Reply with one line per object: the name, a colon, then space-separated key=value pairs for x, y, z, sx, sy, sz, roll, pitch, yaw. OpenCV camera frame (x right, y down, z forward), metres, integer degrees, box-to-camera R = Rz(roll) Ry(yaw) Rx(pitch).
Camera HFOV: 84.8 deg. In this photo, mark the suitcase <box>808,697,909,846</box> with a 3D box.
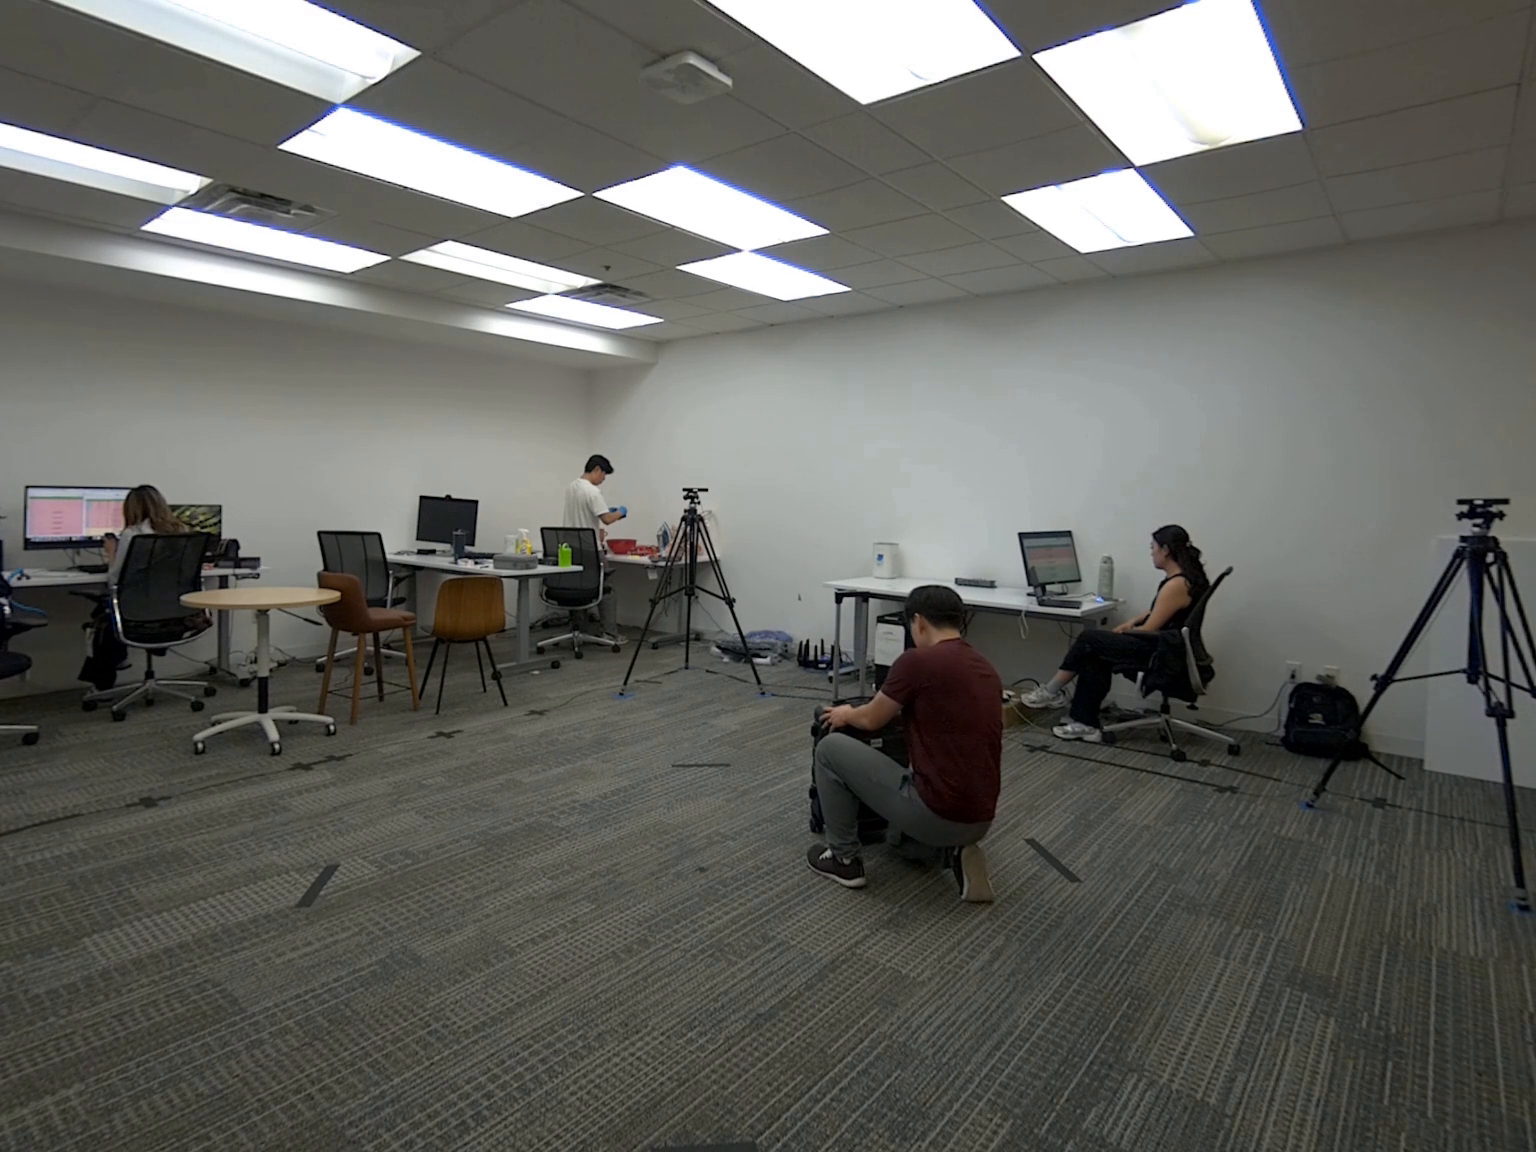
suitcase: x=0.373 y=0.568 z=3.449 sx=0.376 sy=0.976 sz=0.263 roll=-1 pitch=3 yaw=-23
